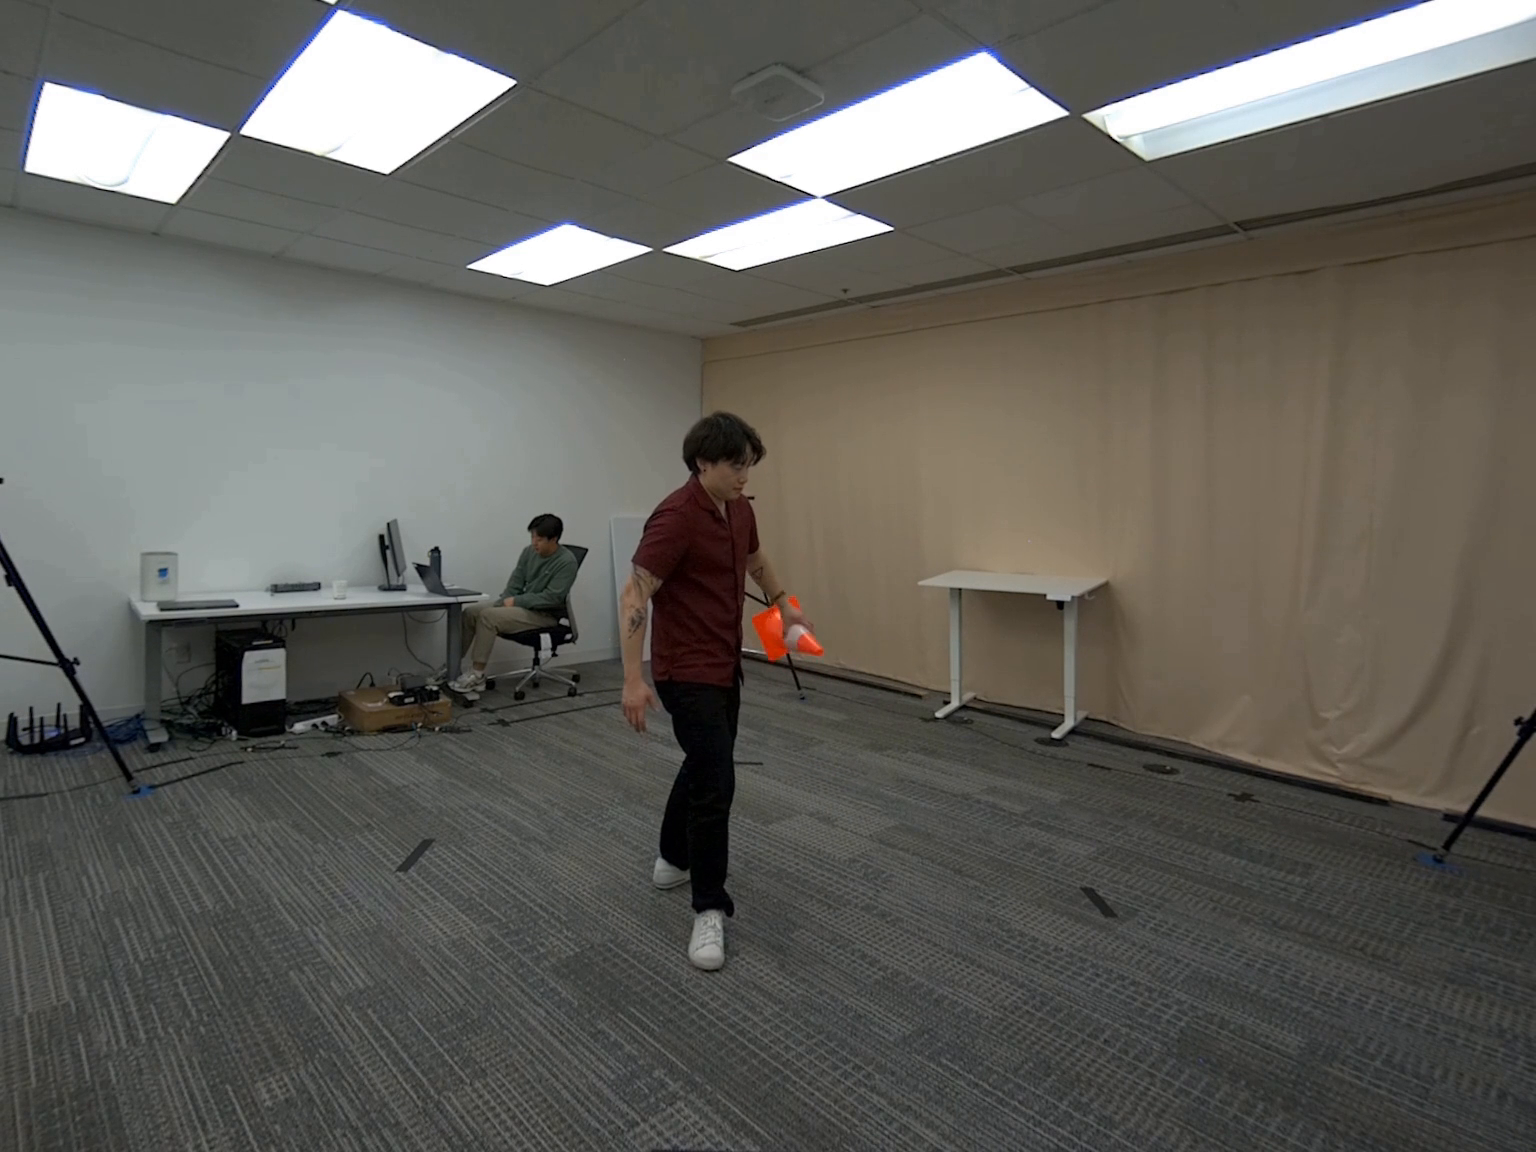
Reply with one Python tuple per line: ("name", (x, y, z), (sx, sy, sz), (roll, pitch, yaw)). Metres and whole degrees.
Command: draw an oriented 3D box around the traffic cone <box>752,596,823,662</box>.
("traffic cone", (0.103, 0.239, 3.076), (0.204, 0.200, 0.391), (-25, 16, -8))
